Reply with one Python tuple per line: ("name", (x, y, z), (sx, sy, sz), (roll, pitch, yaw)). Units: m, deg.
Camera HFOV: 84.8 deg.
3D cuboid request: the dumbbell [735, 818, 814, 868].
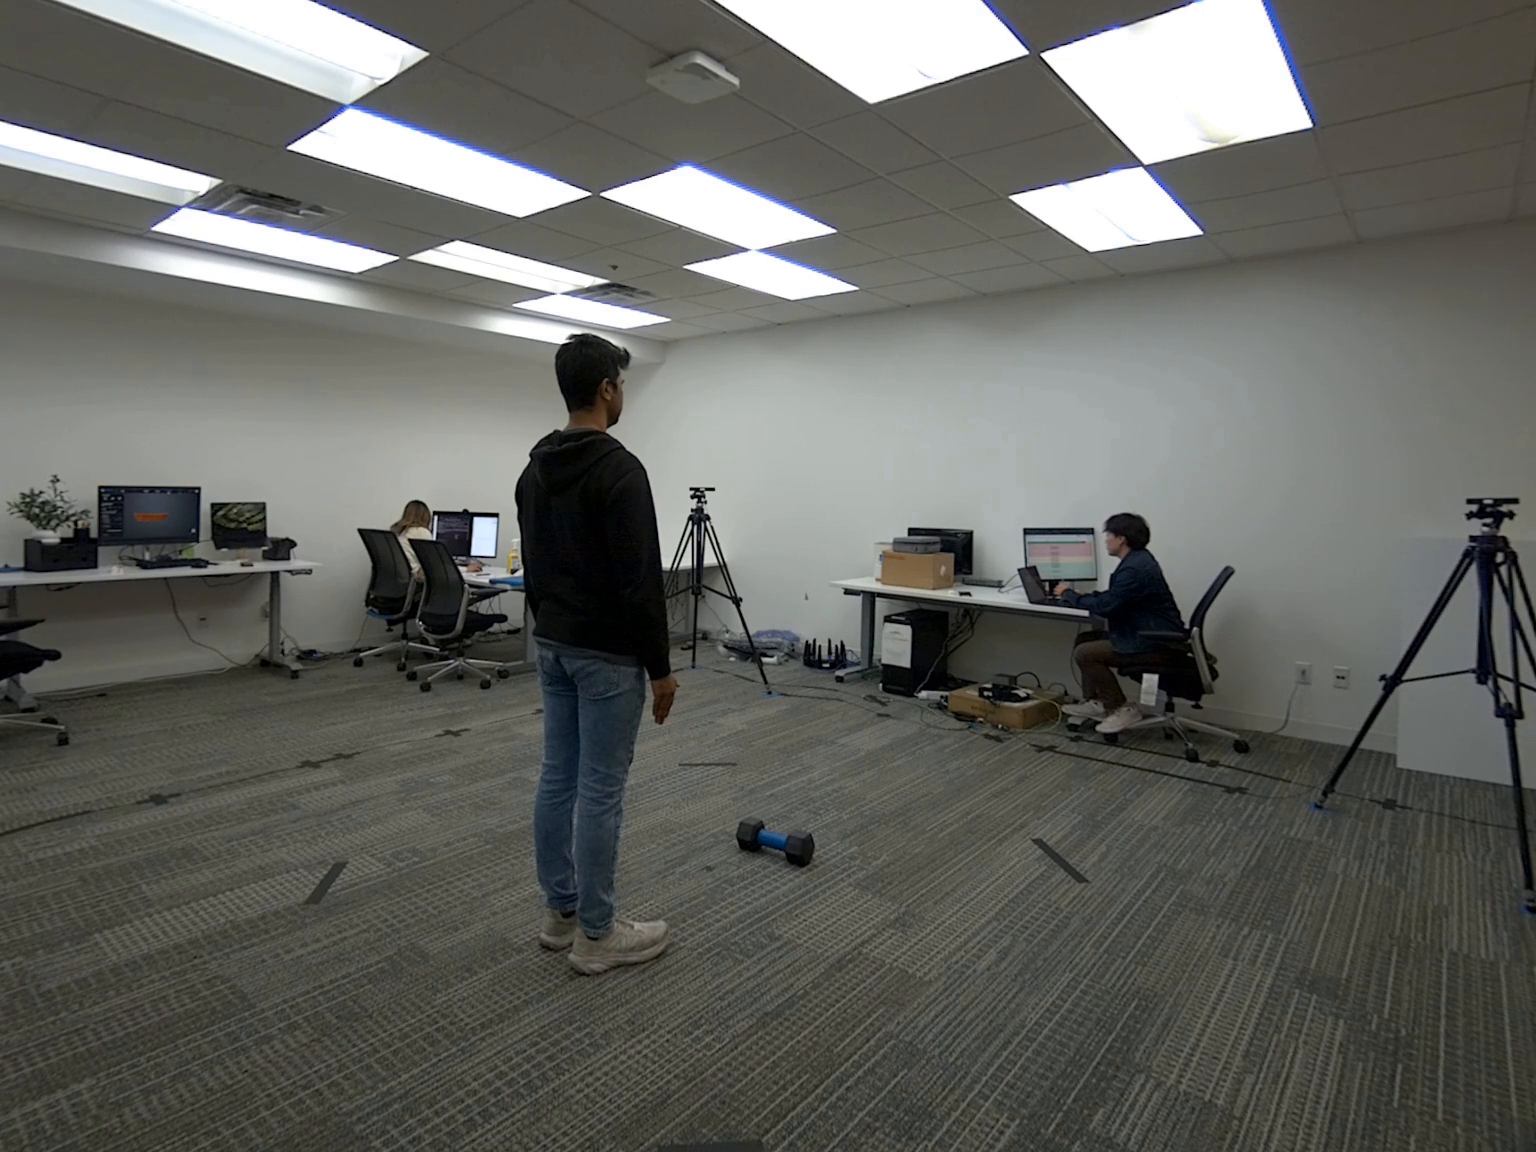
("dumbbell", (0.015, 1.002, 3.238), (0.302, 0.119, 0.109), (4, 36, 32))
